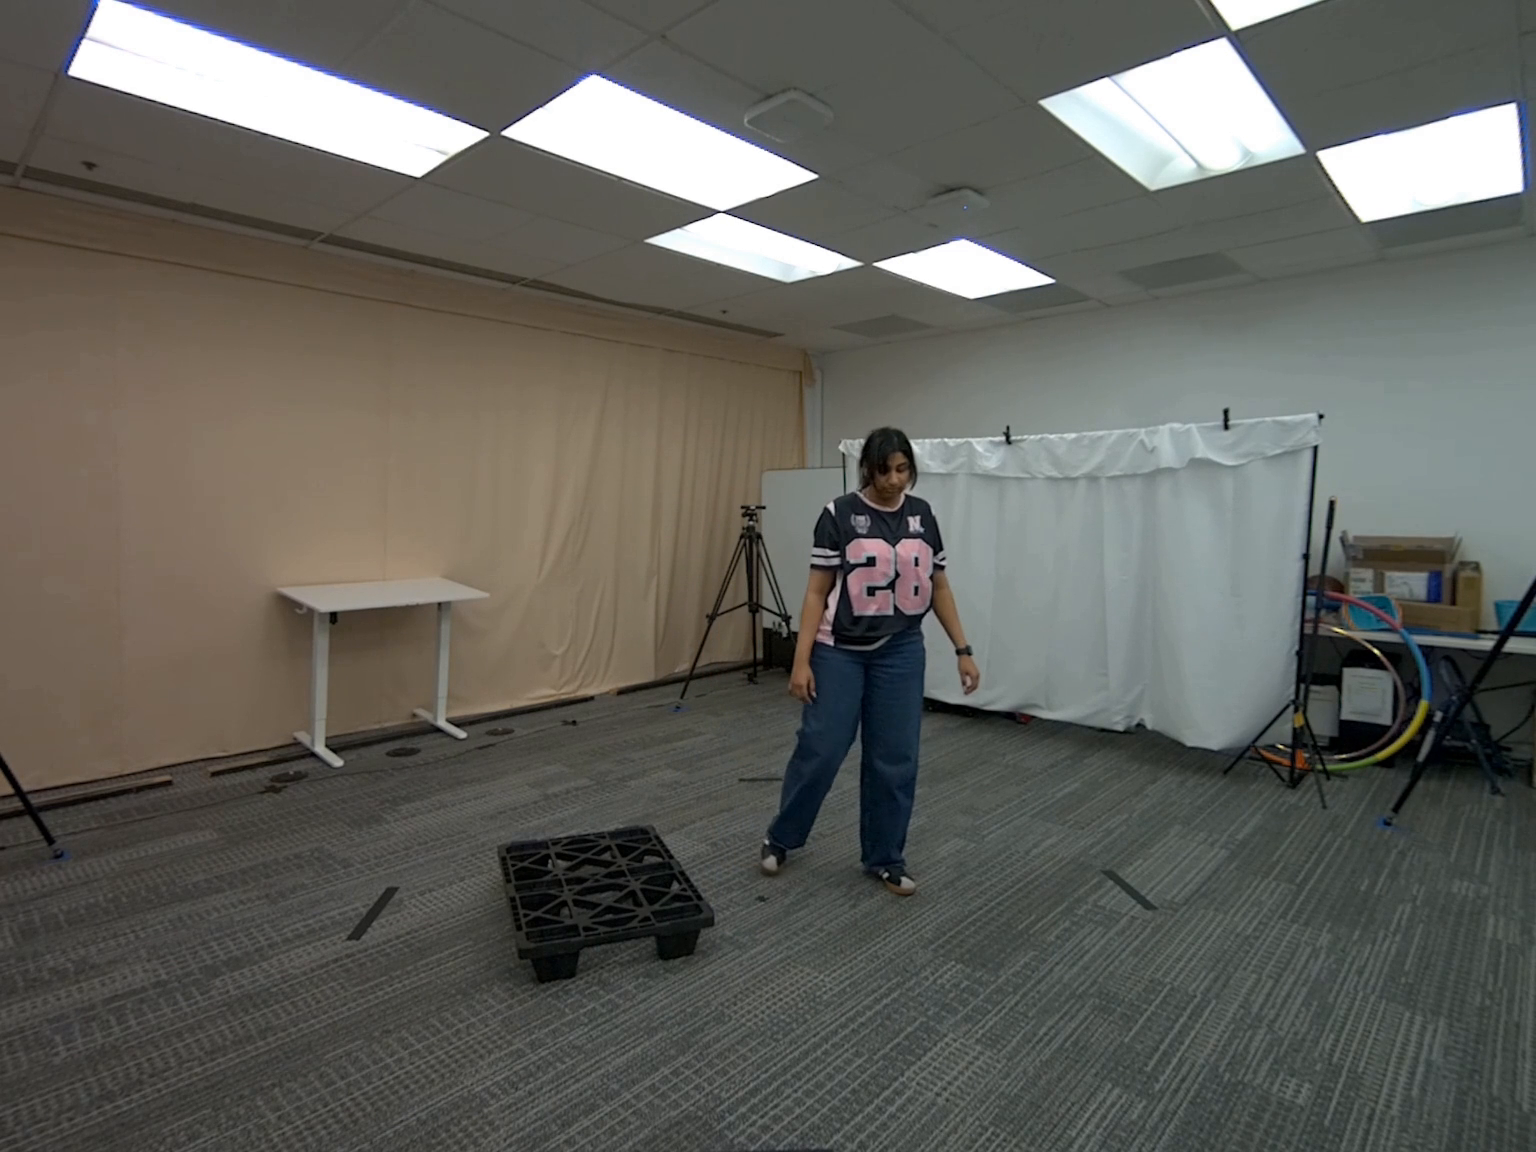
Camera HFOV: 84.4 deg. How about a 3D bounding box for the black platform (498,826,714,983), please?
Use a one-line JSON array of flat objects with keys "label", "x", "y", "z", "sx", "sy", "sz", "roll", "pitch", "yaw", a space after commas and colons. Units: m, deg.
[{"label": "black platform", "x": -0.582, "y": 1.089, "z": 2.876, "sx": 0.593, "sy": 0.143, "sz": 0.824, "roll": -2, "pitch": 5, "yaw": -21}]
